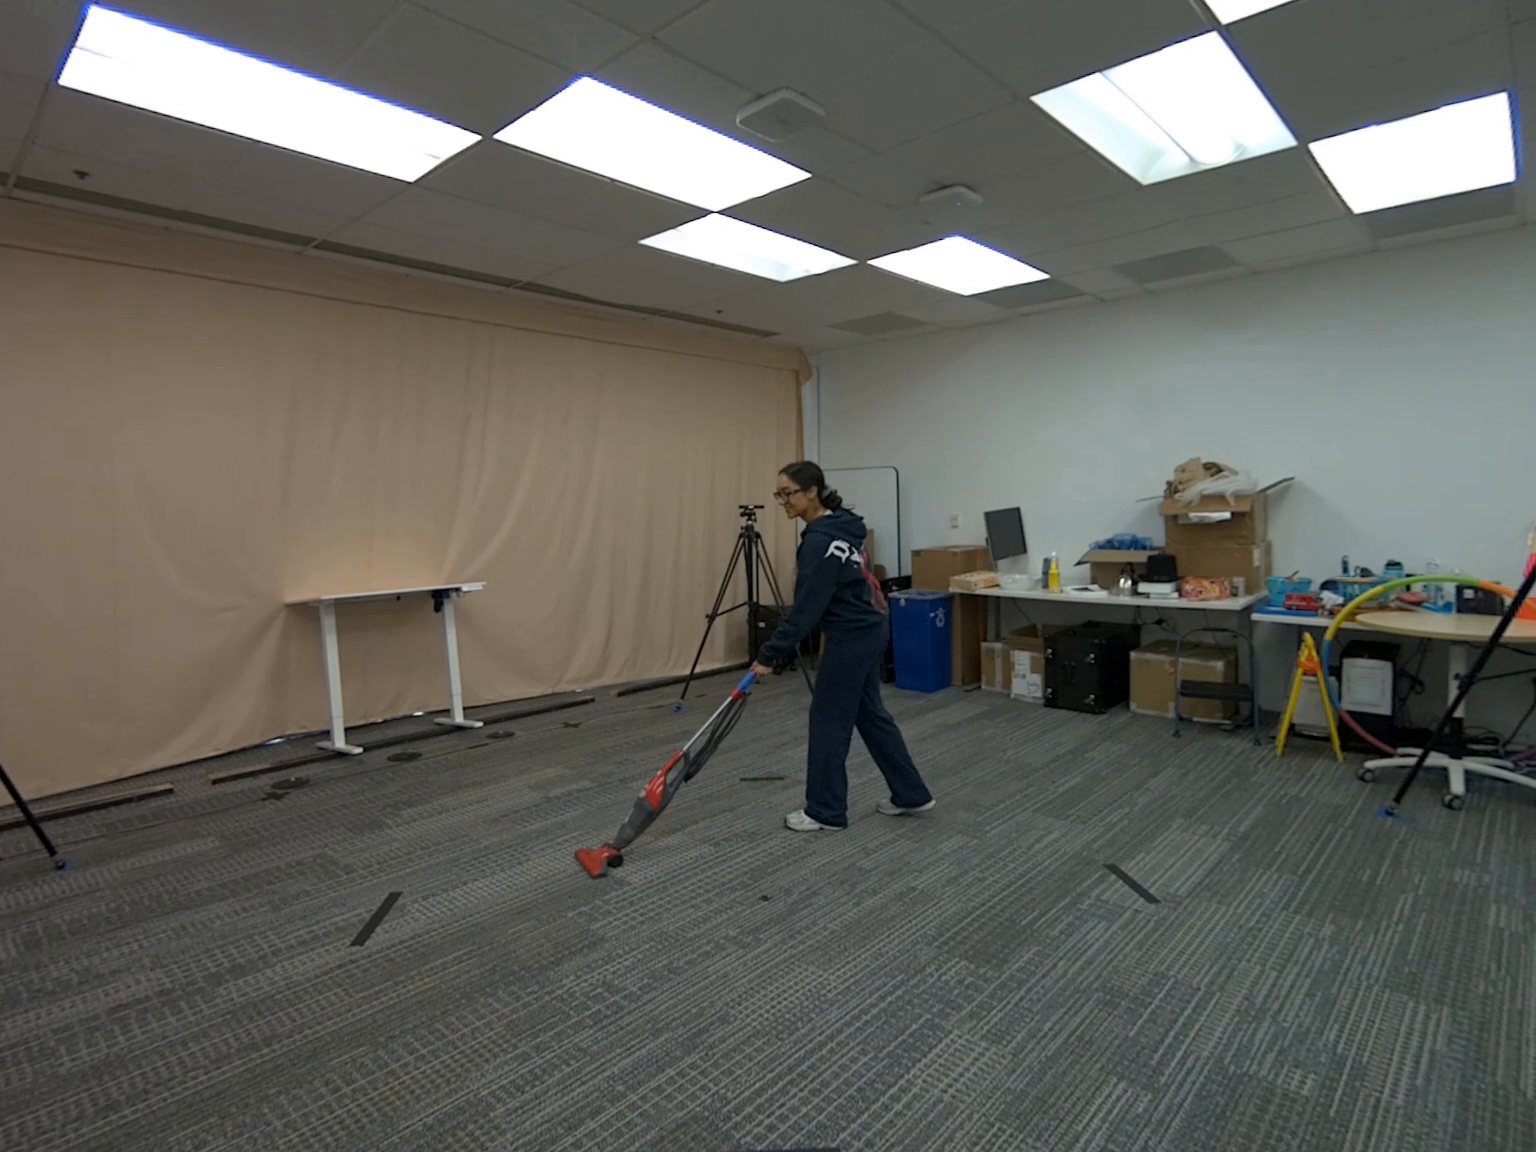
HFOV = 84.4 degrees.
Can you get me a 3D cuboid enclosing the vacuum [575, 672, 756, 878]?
[{"bbox_3d":[-0.317,0.750,3.454,1.044,0.141,0.260,-47,23,-16],"label":"vacuum"}]
